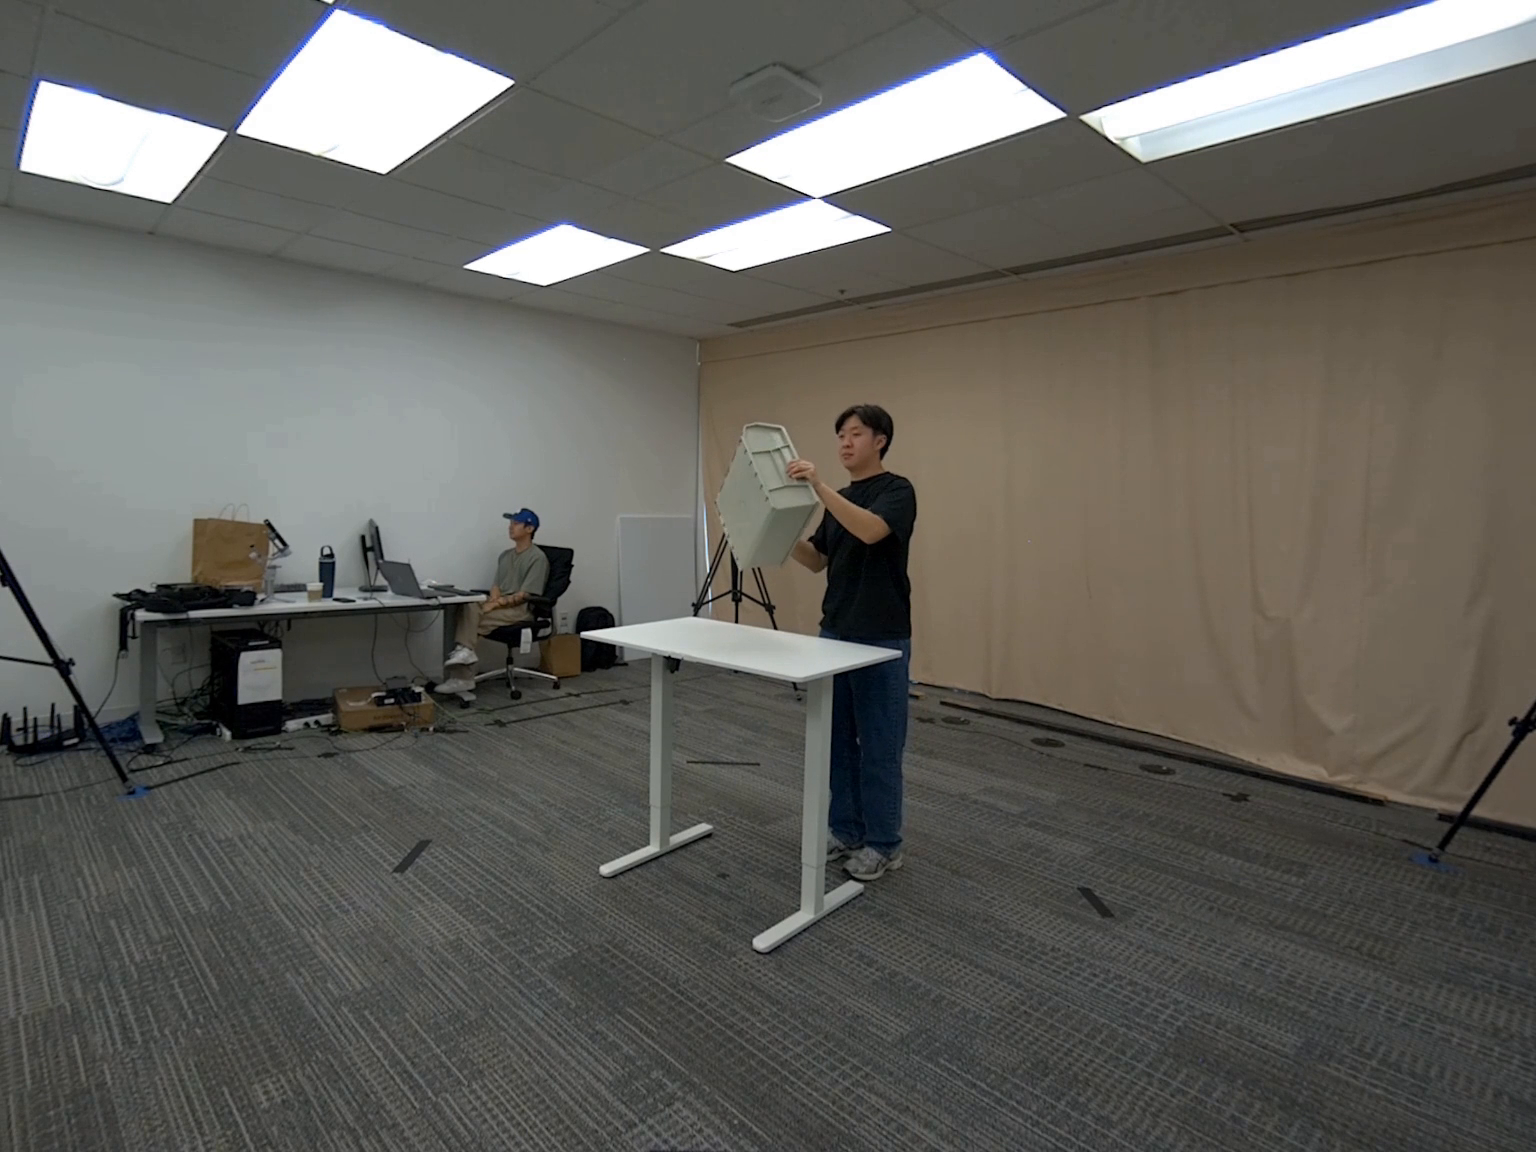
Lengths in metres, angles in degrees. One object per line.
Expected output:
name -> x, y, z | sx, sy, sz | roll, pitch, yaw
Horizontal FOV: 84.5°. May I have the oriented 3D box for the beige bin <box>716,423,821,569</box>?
beige bin -> -0.024, -0.283, 3.092 | 0.186, 0.386, 0.418 | -8, -29, -24
